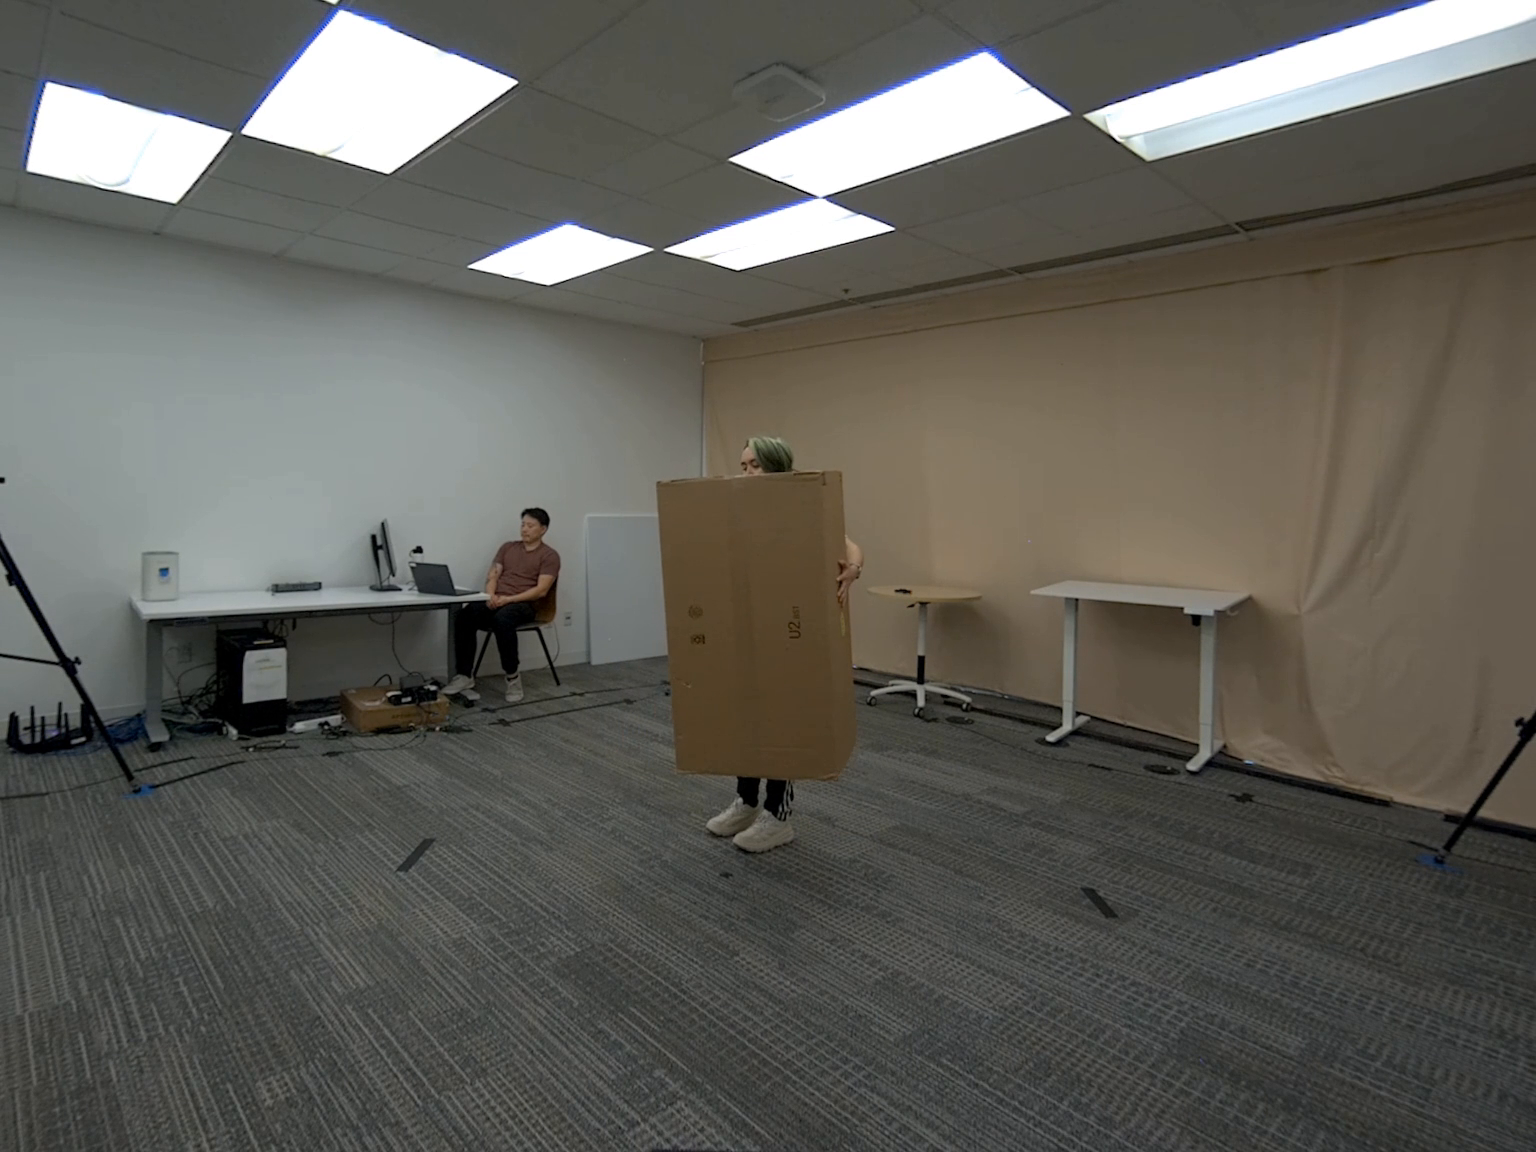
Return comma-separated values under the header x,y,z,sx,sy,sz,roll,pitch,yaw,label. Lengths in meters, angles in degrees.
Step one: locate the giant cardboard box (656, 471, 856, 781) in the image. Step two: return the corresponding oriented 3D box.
x,y,z,sx,sy,sz,roll,pitch,yaw,label
-0.037,0.154,3.012,0.585,1.022,0.422,-2,4,17,giant cardboard box
